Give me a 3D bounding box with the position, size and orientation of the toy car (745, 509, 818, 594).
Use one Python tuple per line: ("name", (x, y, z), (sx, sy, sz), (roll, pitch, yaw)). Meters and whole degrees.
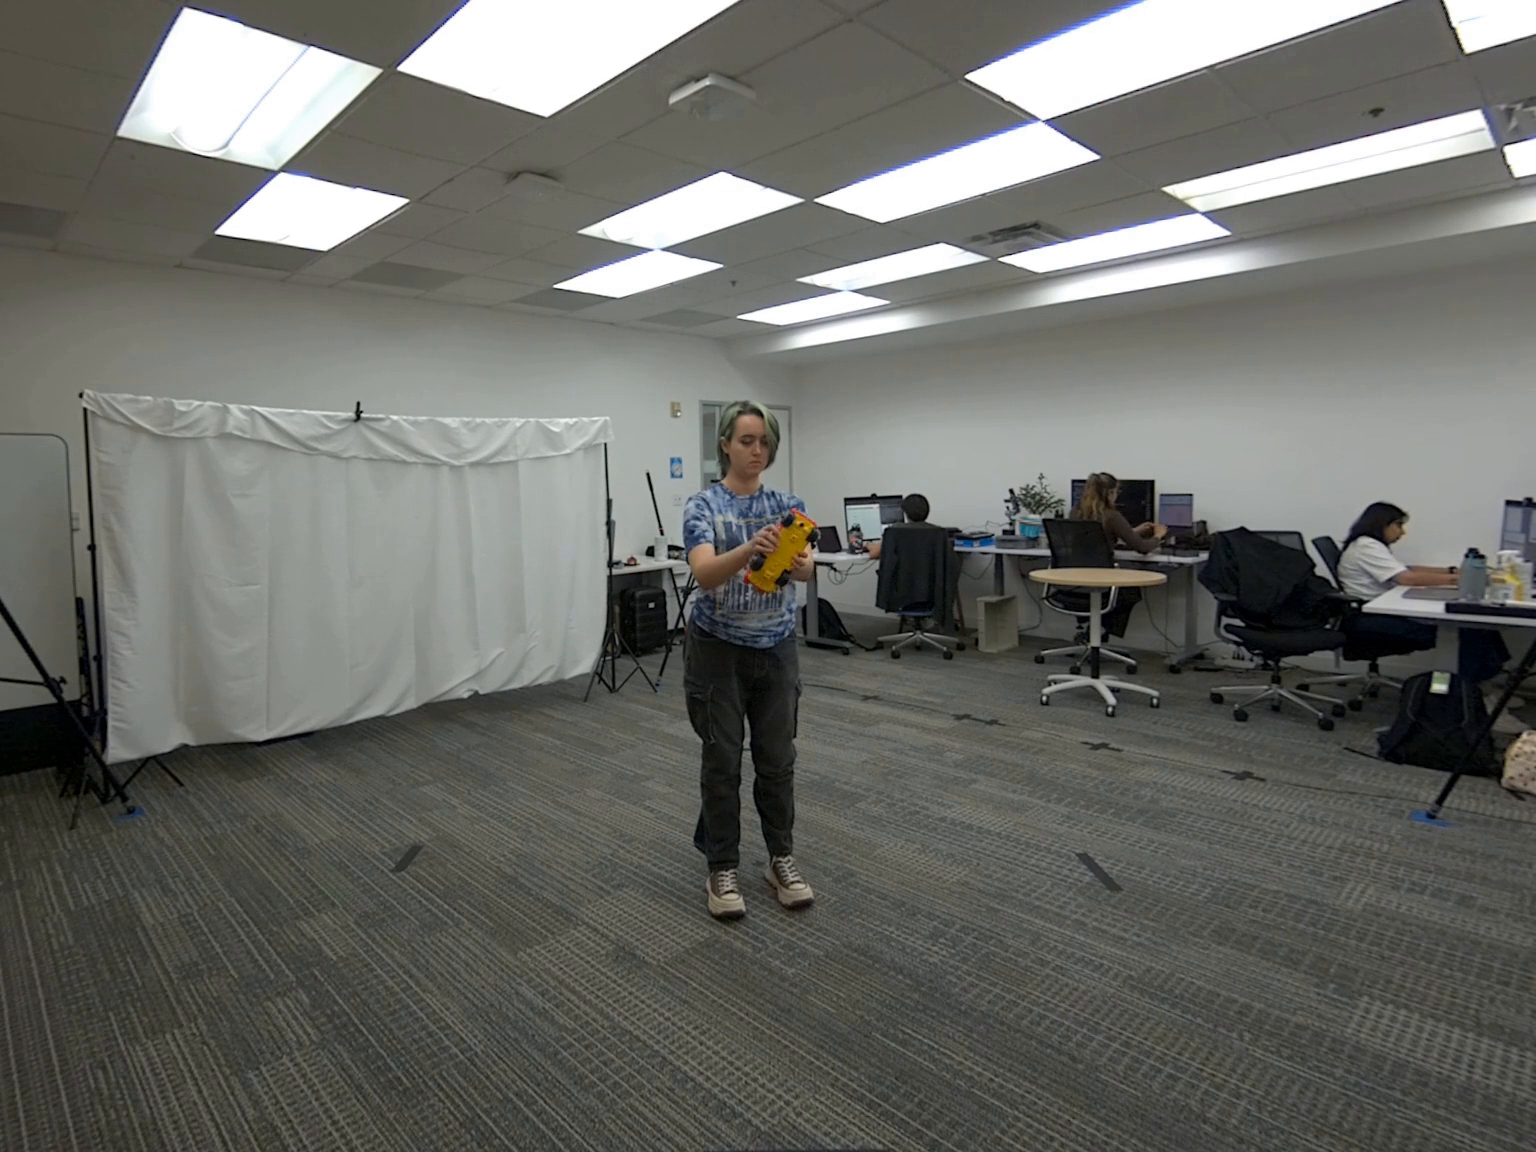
("toy car", (0.032, -0.059, 2.366), (0.128, 0.254, 0.085), (33, 17, -15))
